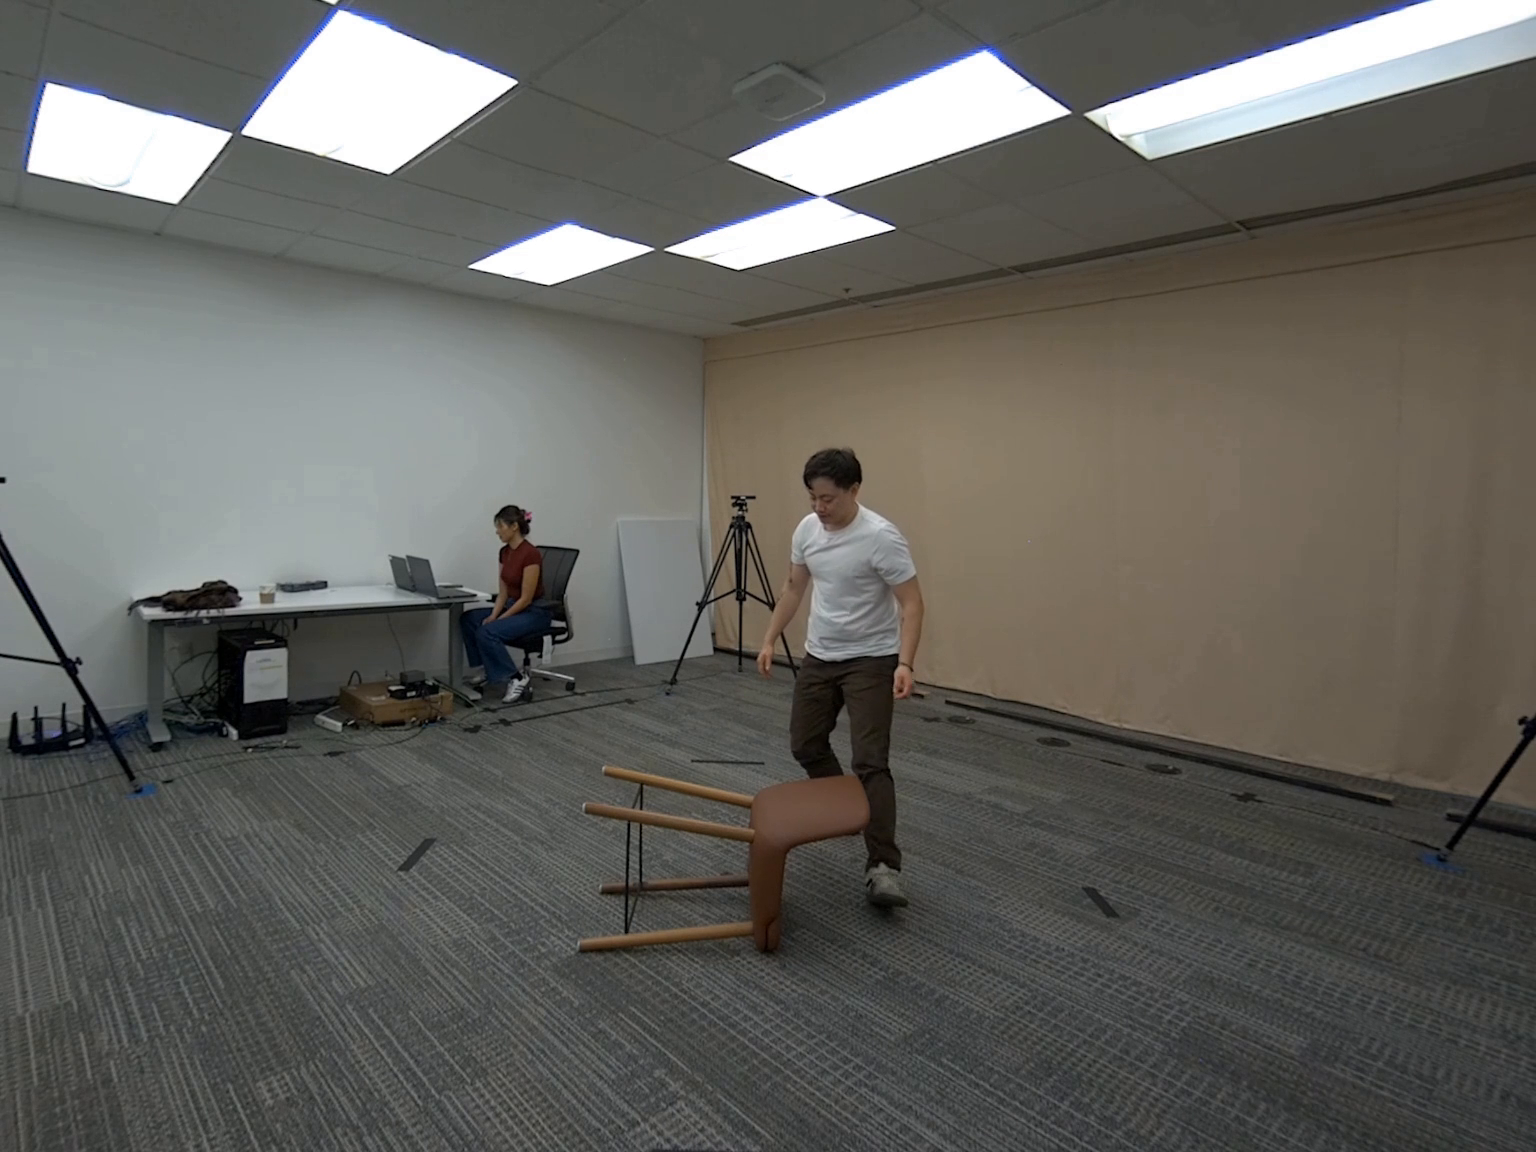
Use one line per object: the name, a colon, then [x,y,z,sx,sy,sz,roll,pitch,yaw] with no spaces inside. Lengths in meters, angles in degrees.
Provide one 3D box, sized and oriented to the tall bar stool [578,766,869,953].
tall bar stool: [-0.143,0.910,2.726,0.890,0.466,0.457,0,4,1]
